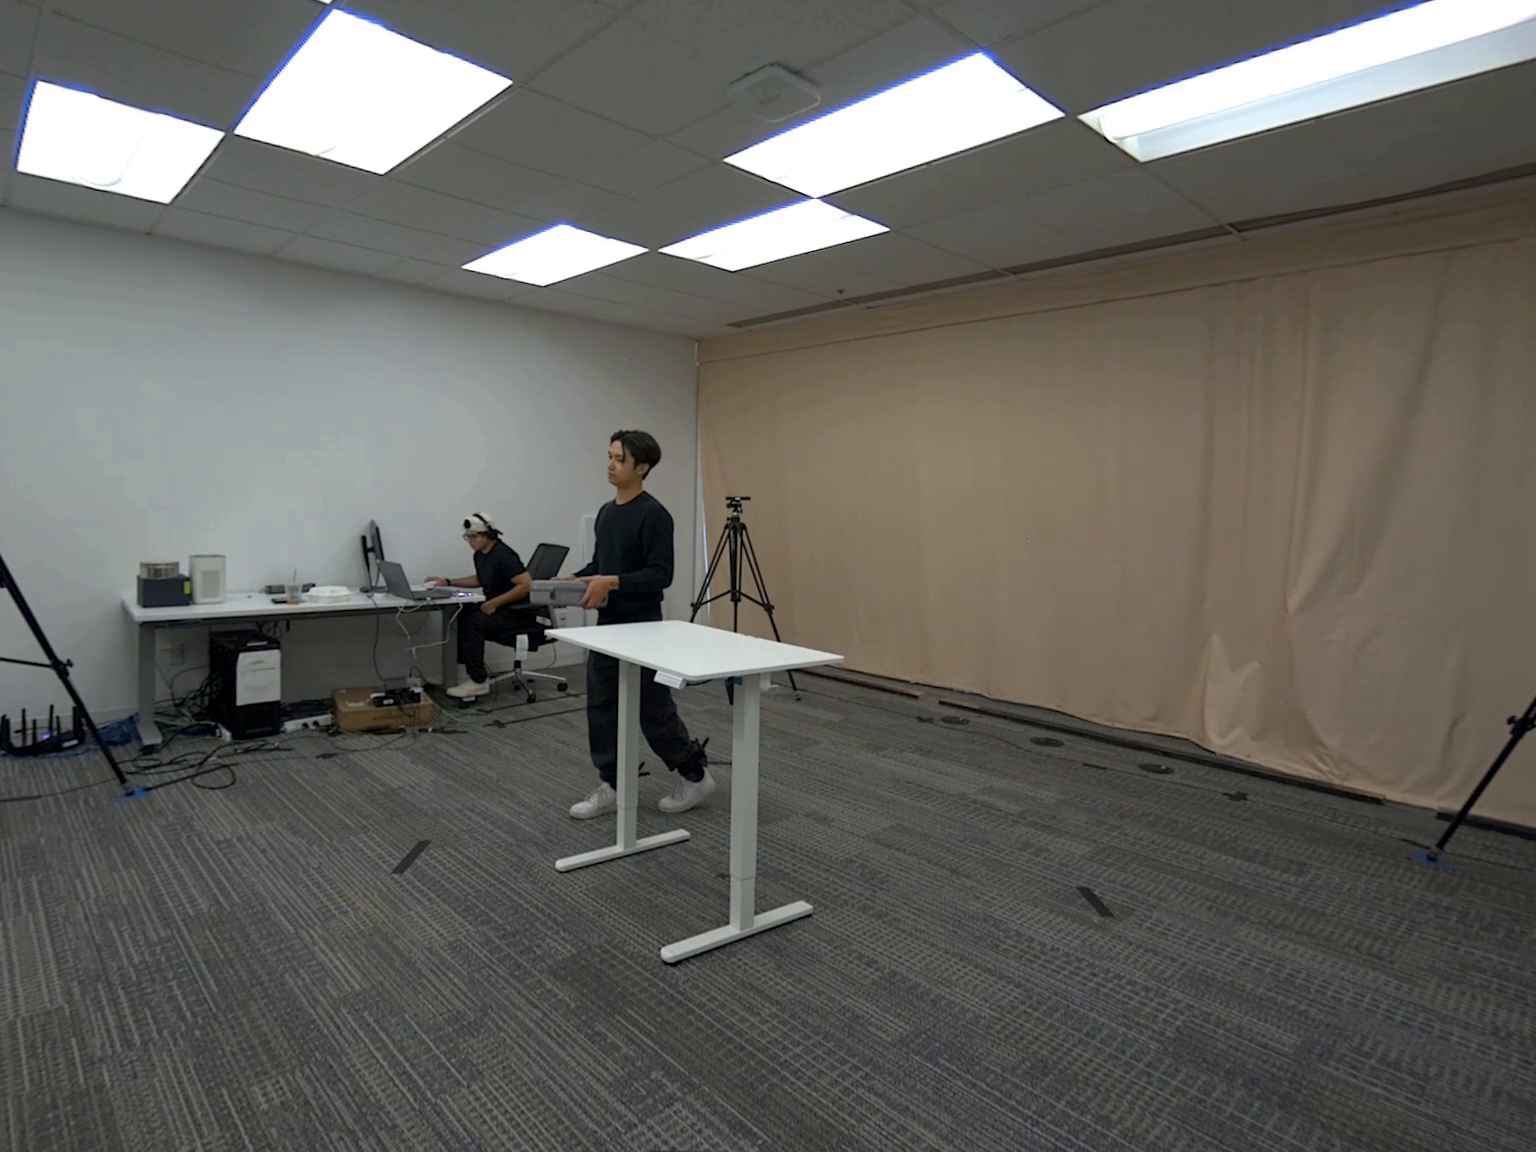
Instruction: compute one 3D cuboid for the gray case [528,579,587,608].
[{"bbox_3d":[-0.843,0.073,3.537,0.254,0.104,0.263,4,-3,-42],"label":"gray case"}]
